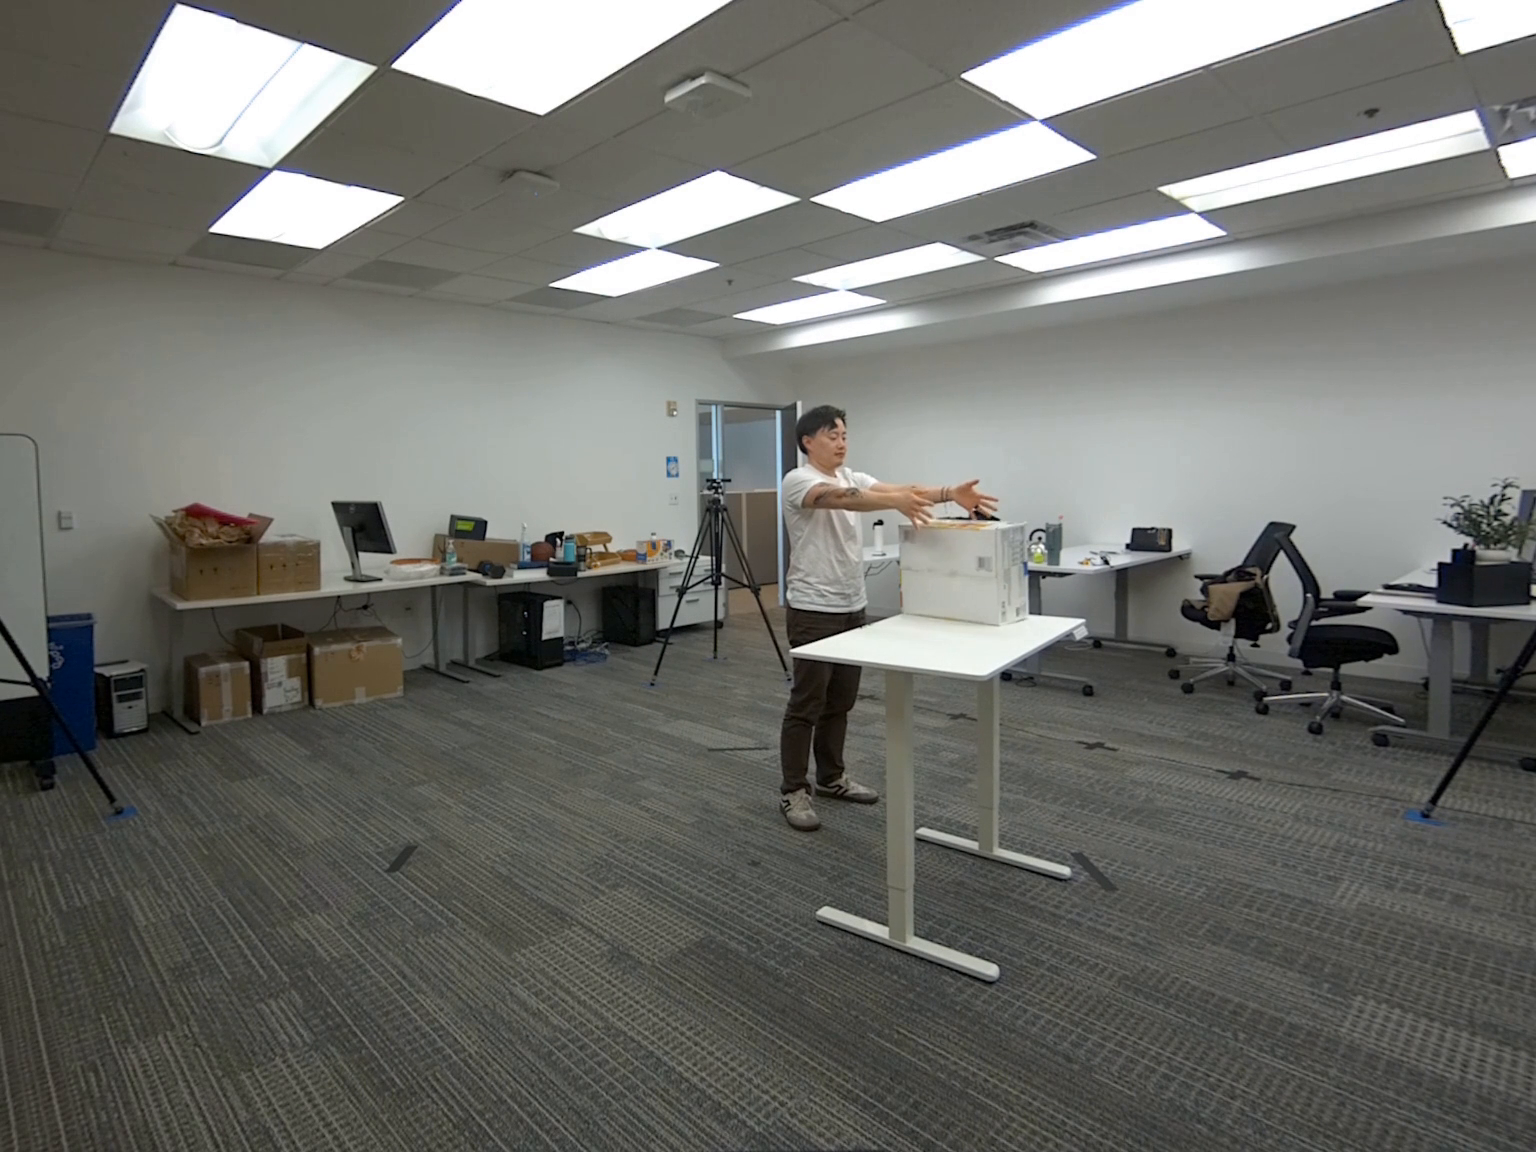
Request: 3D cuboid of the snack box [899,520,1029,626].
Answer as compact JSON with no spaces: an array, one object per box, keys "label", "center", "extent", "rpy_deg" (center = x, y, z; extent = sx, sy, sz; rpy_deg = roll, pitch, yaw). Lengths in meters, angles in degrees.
[{"label":"snack box","center":[0.709,-0.031,3.100],"extent":[0.200,0.339,0.417],"rpy_deg":[-7,8,-43]}]
